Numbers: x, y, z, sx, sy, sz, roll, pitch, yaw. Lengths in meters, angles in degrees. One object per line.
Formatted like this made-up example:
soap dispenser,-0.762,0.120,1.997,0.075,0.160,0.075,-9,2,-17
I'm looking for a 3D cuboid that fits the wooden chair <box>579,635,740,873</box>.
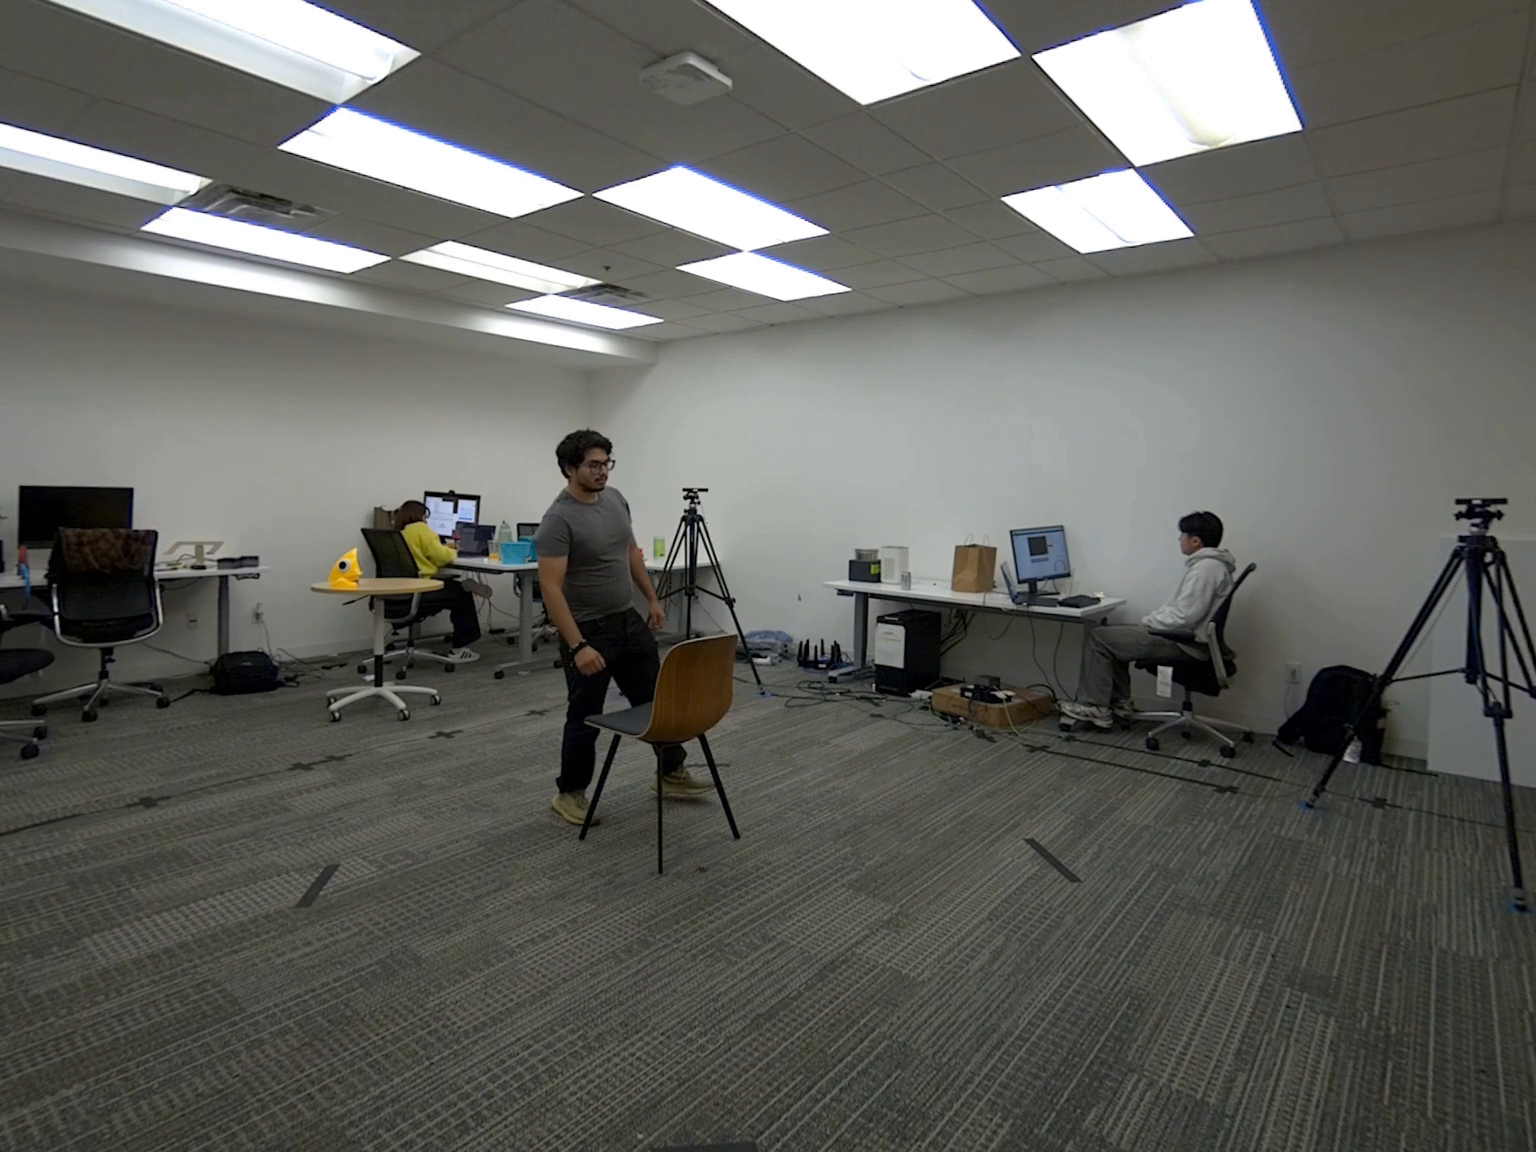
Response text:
wooden chair,-0.433,0.617,3.346,0.542,0.873,0.464,9,8,39
